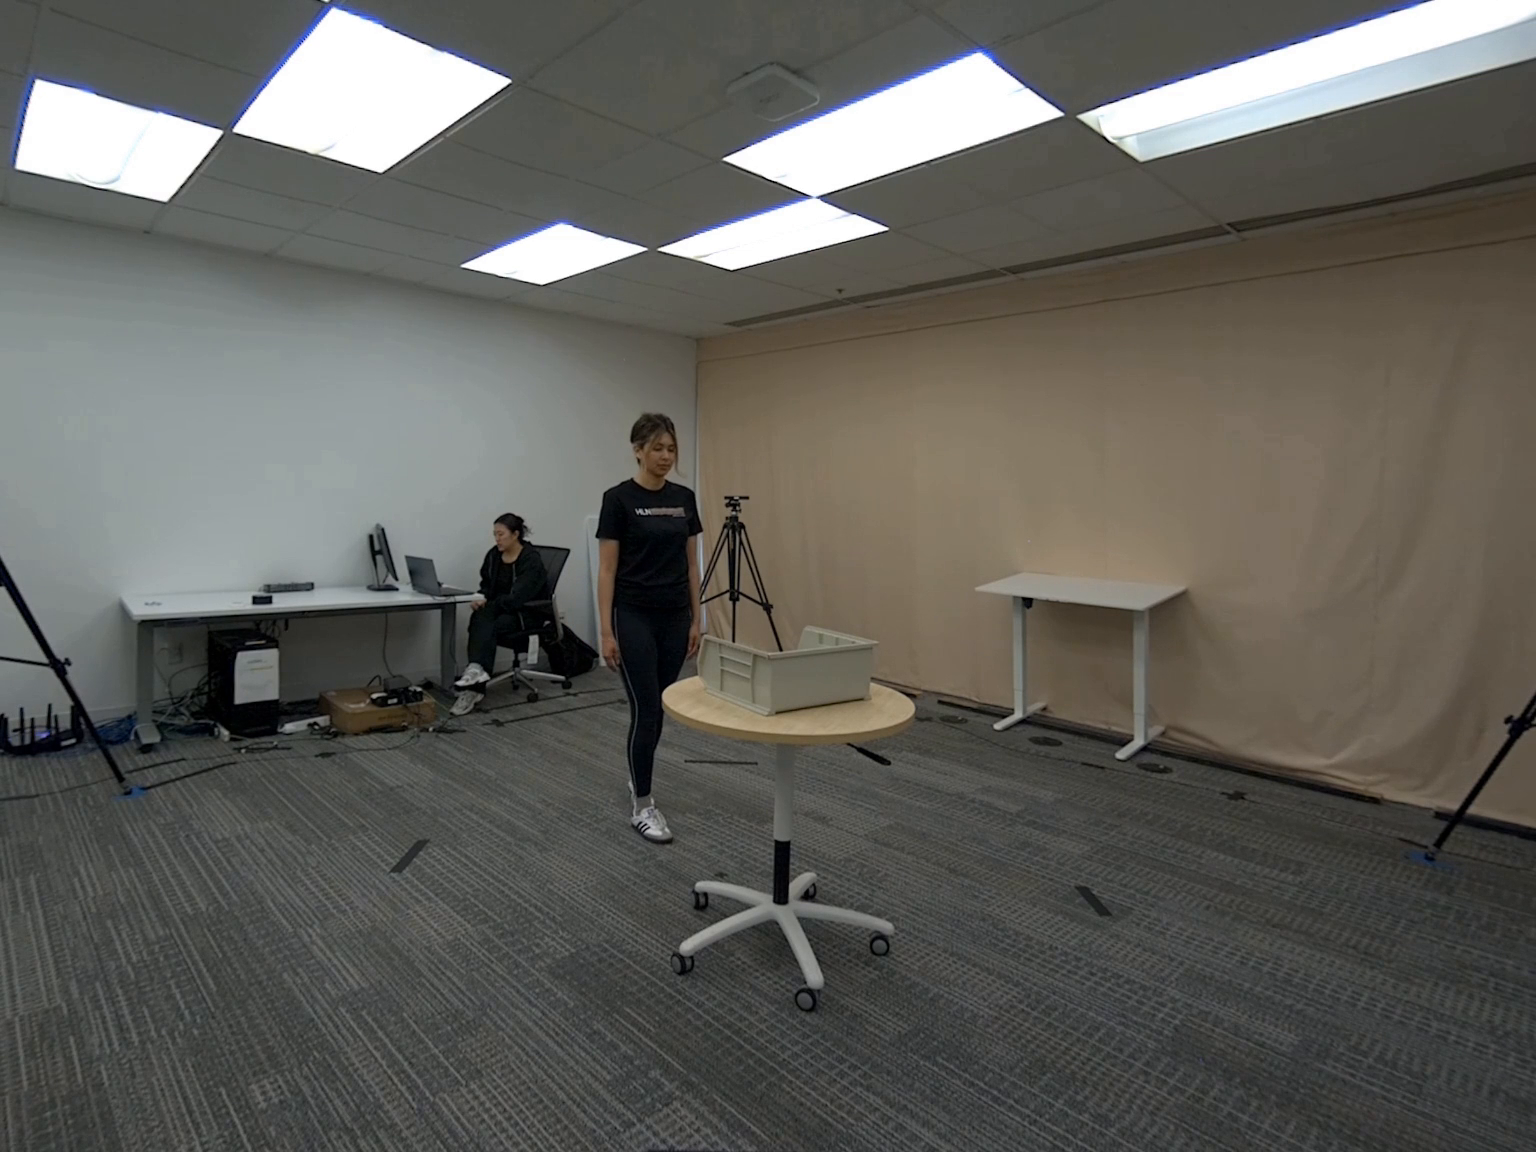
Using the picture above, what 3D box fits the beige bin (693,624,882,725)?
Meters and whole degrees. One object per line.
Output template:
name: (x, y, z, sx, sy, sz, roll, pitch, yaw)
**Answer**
beige bin: (0.054, 0.285, 2.599, 0.413, 0.188, 0.387, -2, 7, -37)
